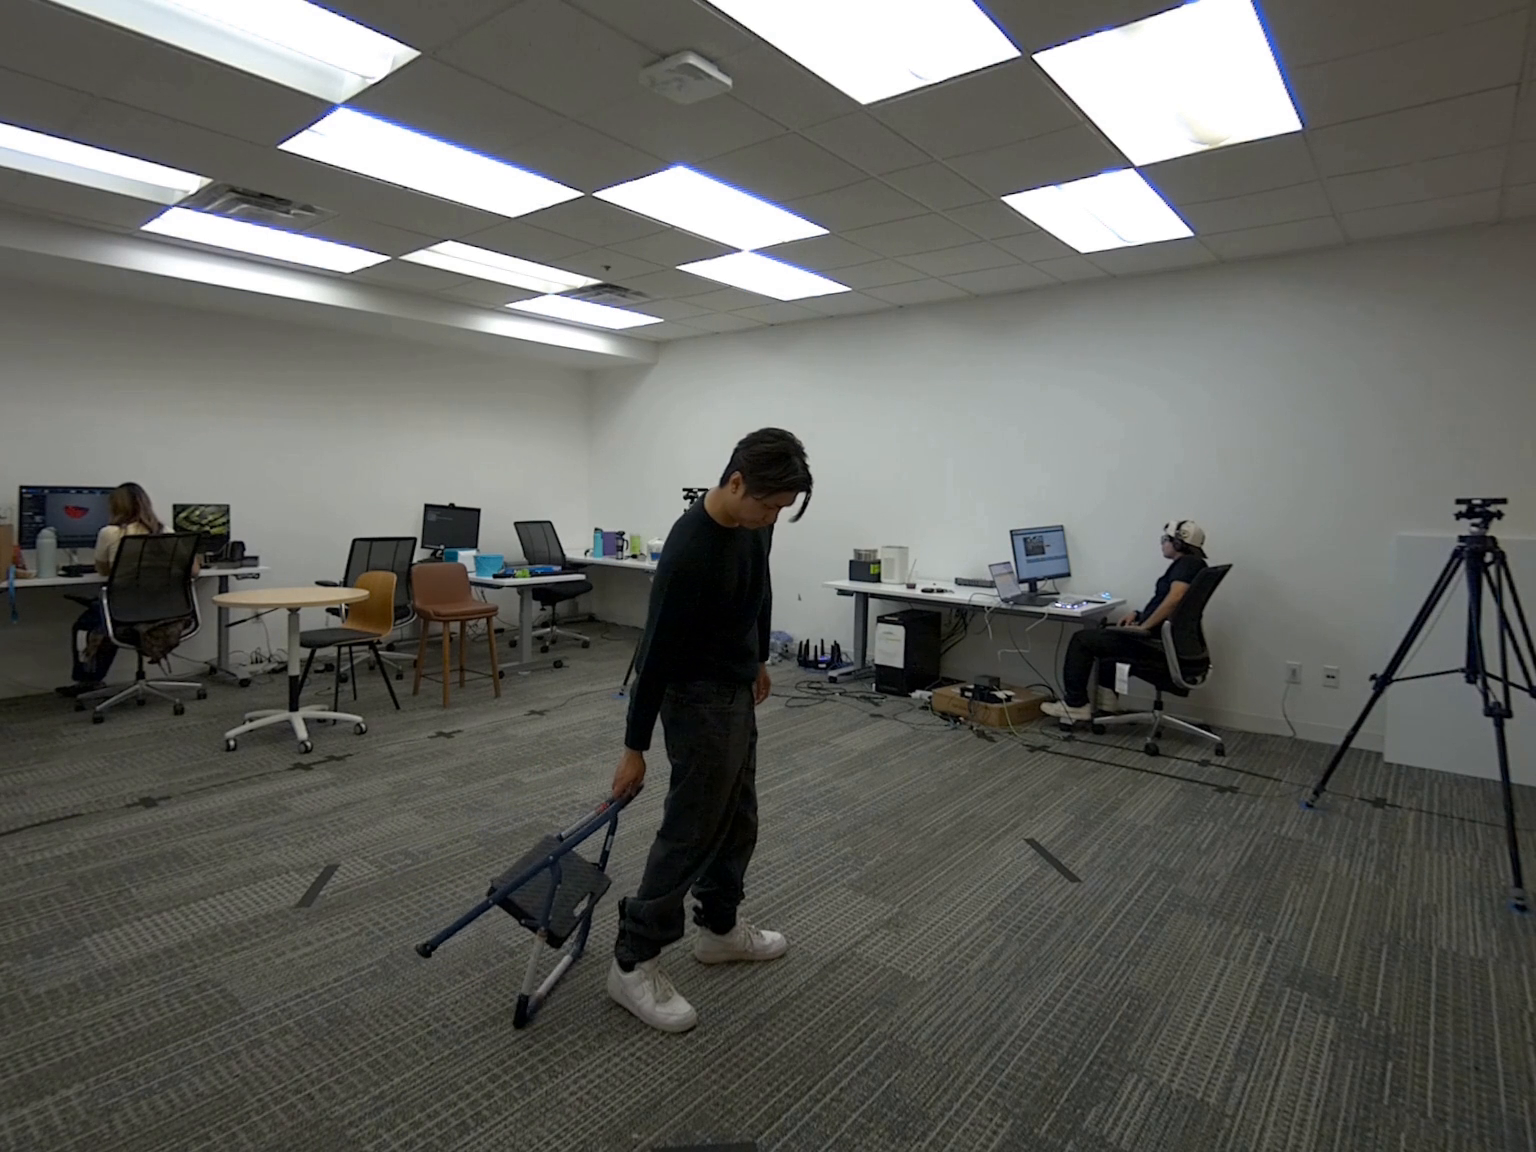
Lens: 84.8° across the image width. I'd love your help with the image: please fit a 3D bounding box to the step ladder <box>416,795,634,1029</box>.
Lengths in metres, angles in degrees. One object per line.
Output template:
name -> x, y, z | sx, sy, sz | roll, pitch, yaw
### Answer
step ladder -> -0.596, 0.805, 2.345 | 0.353, 0.604, 0.427 | 32, 10, 7
